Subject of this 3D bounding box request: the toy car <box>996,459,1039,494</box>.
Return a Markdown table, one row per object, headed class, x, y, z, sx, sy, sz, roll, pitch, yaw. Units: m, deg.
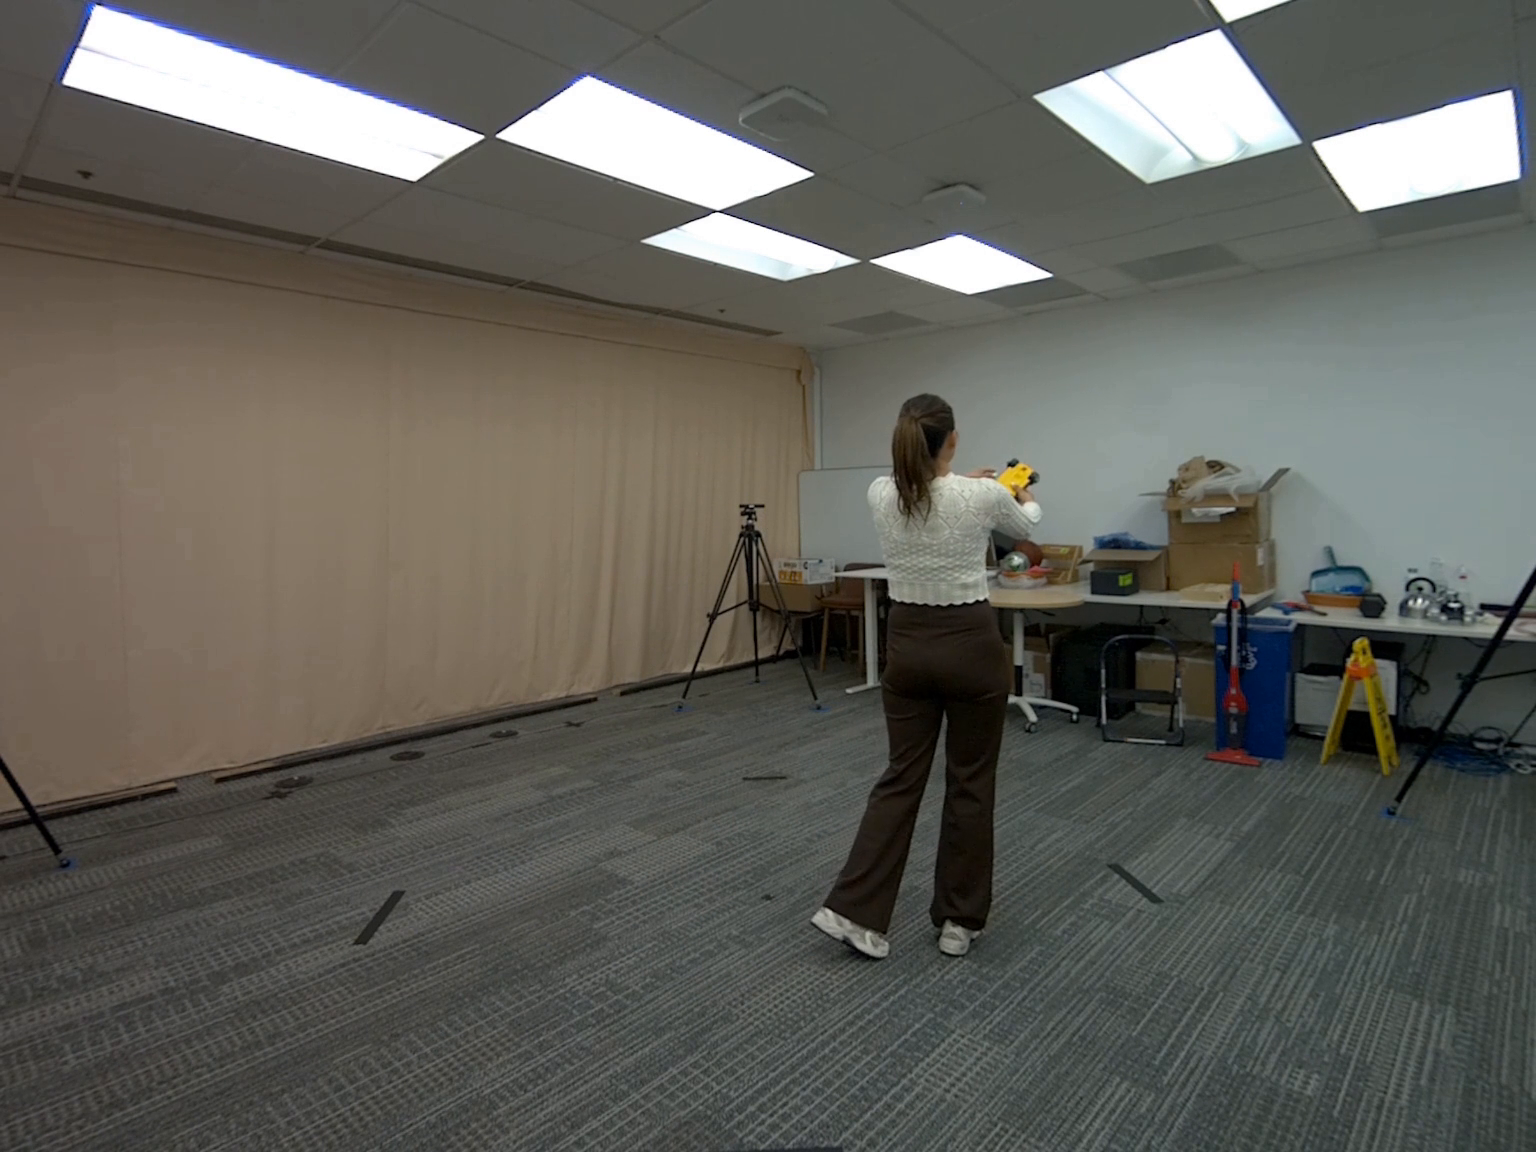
| class | x | y | z | sx | sy | sz | roll | pitch | yaw |
| --- | --- | --- | --- | --- | --- | --- | --- | --- | --- |
| toy car | 0.862 | -0.316 | 3.020 | 0.133 | 0.254 | 0.081 | 41 | -10 | 19 |
